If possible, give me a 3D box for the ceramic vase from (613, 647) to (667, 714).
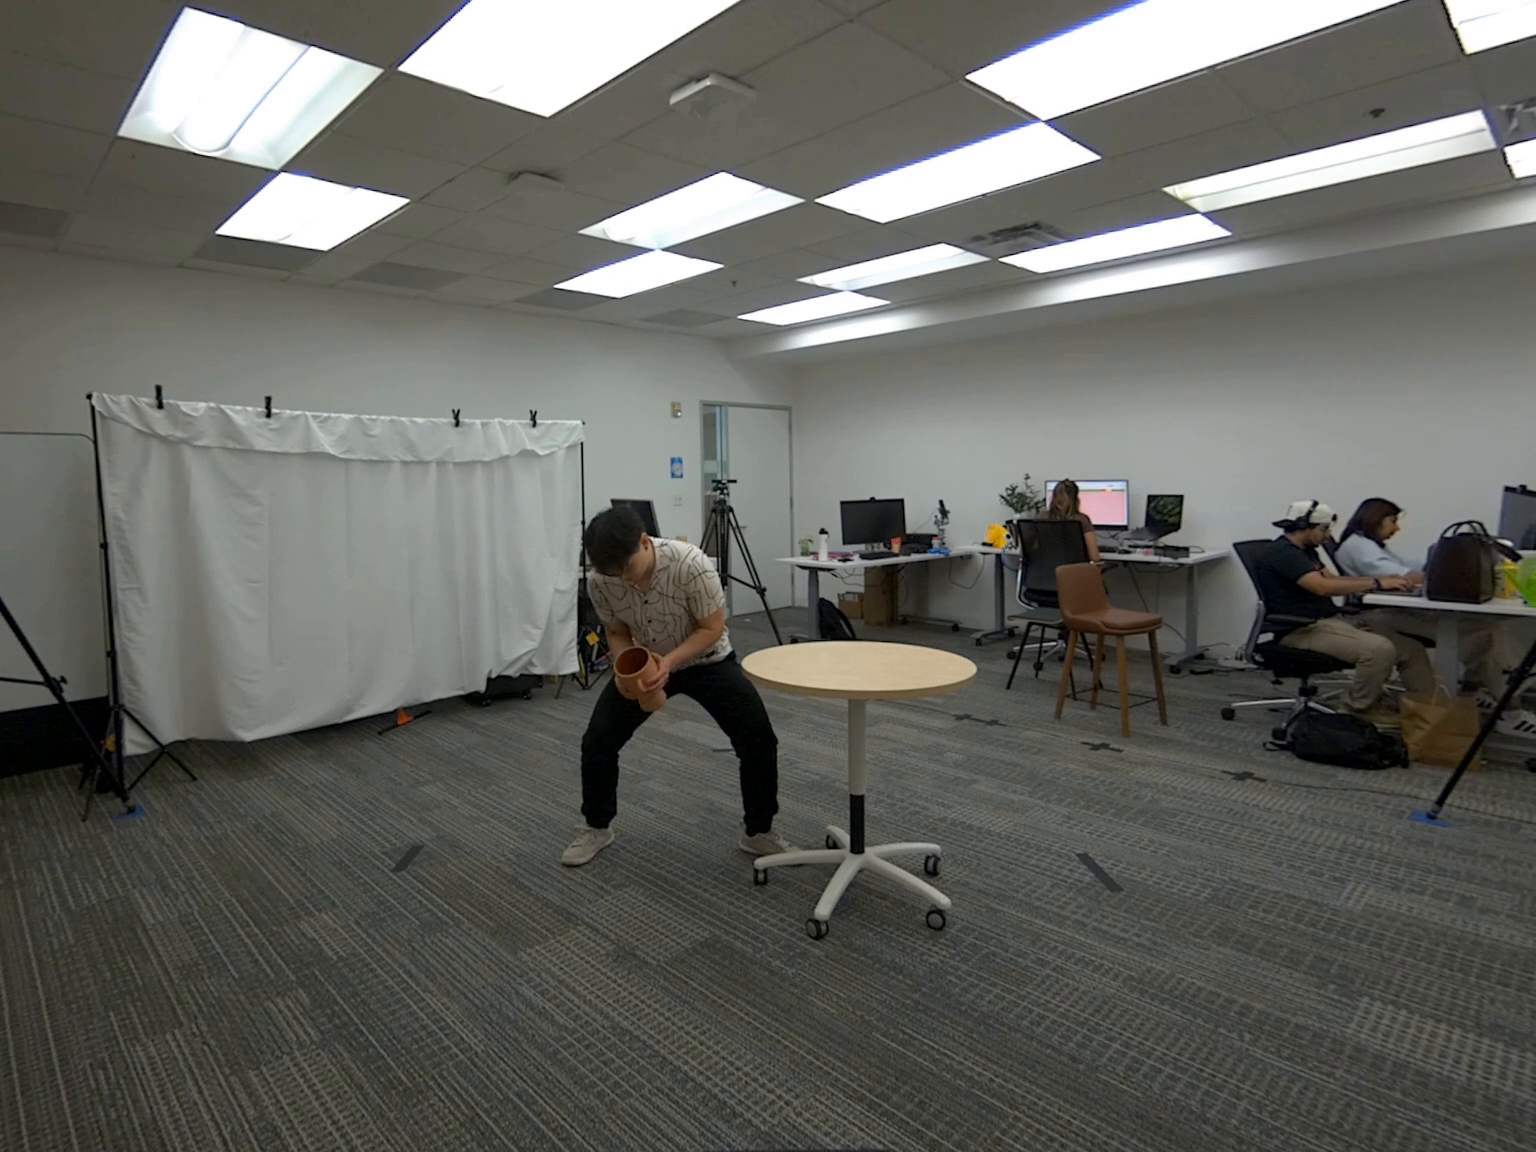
[{"bbox_3d":[-0.426,0.360,2.921,0.138,0.212,0.160,5,48,28],"label":"ceramic vase"}]
